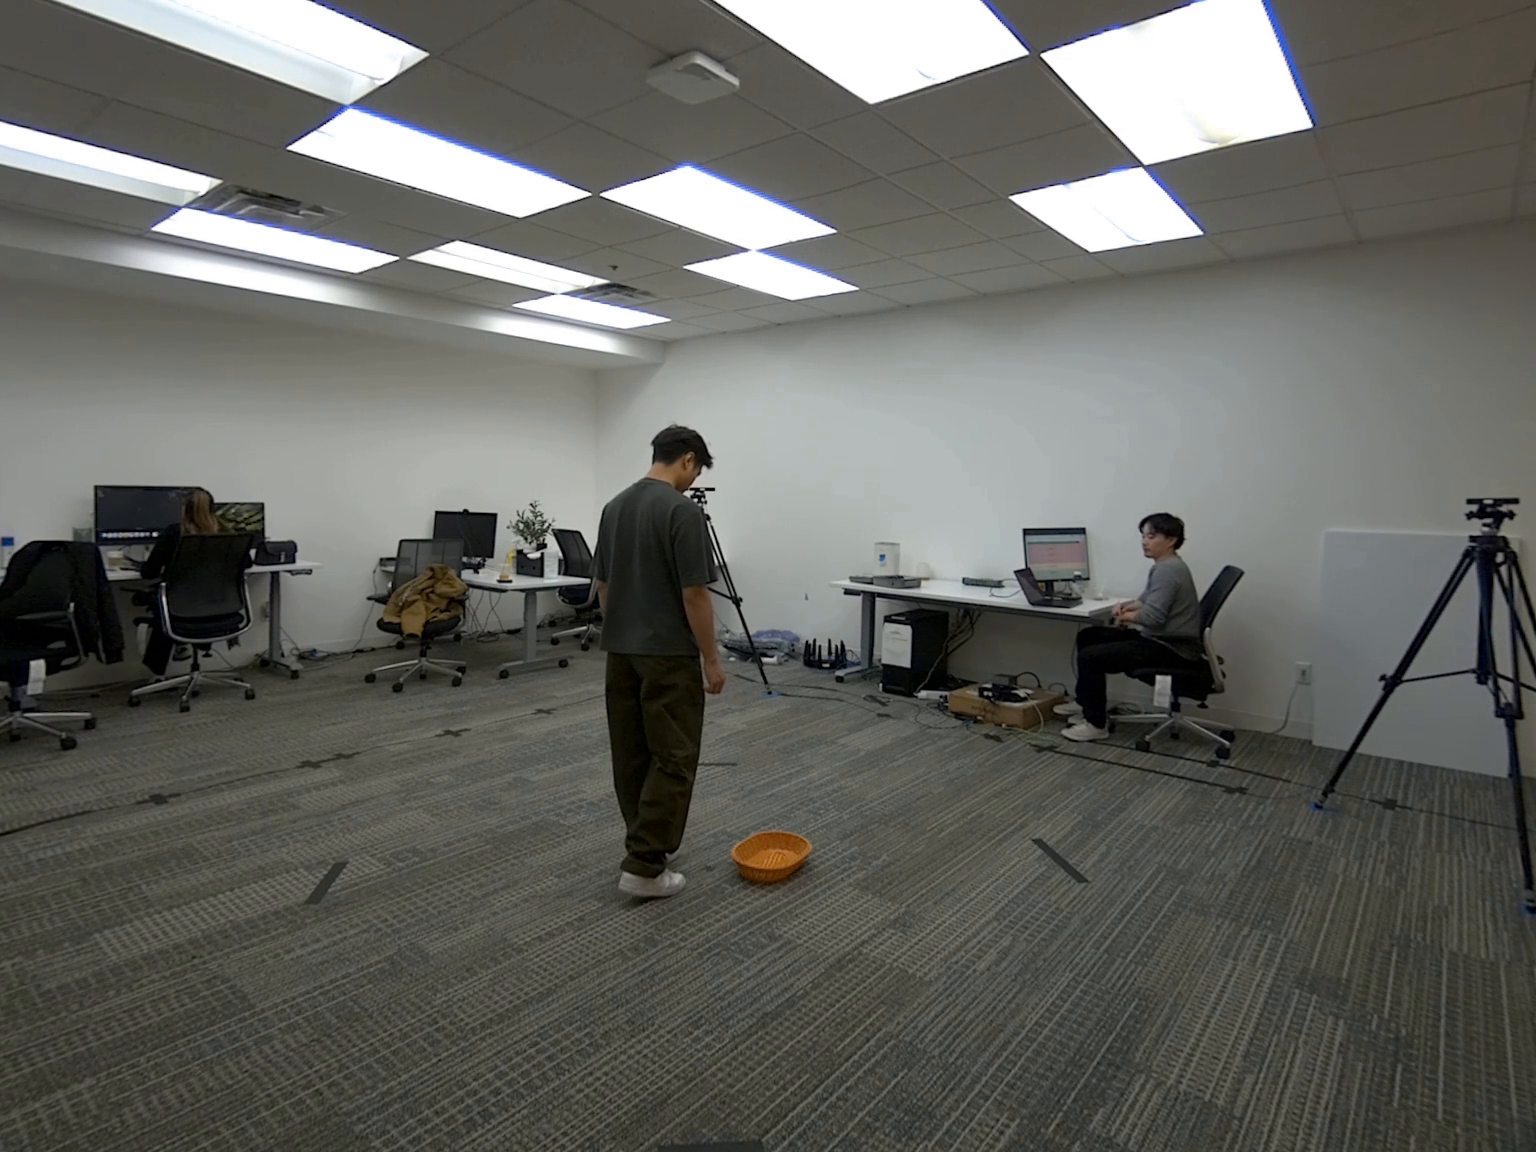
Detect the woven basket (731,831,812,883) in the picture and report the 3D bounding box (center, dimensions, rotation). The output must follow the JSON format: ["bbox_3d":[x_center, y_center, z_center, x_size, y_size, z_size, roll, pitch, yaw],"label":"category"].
[{"bbox_3d":[0.005,1.034,3.127,0.261,0.073,0.340,6,7,36],"label":"woven basket"}]
